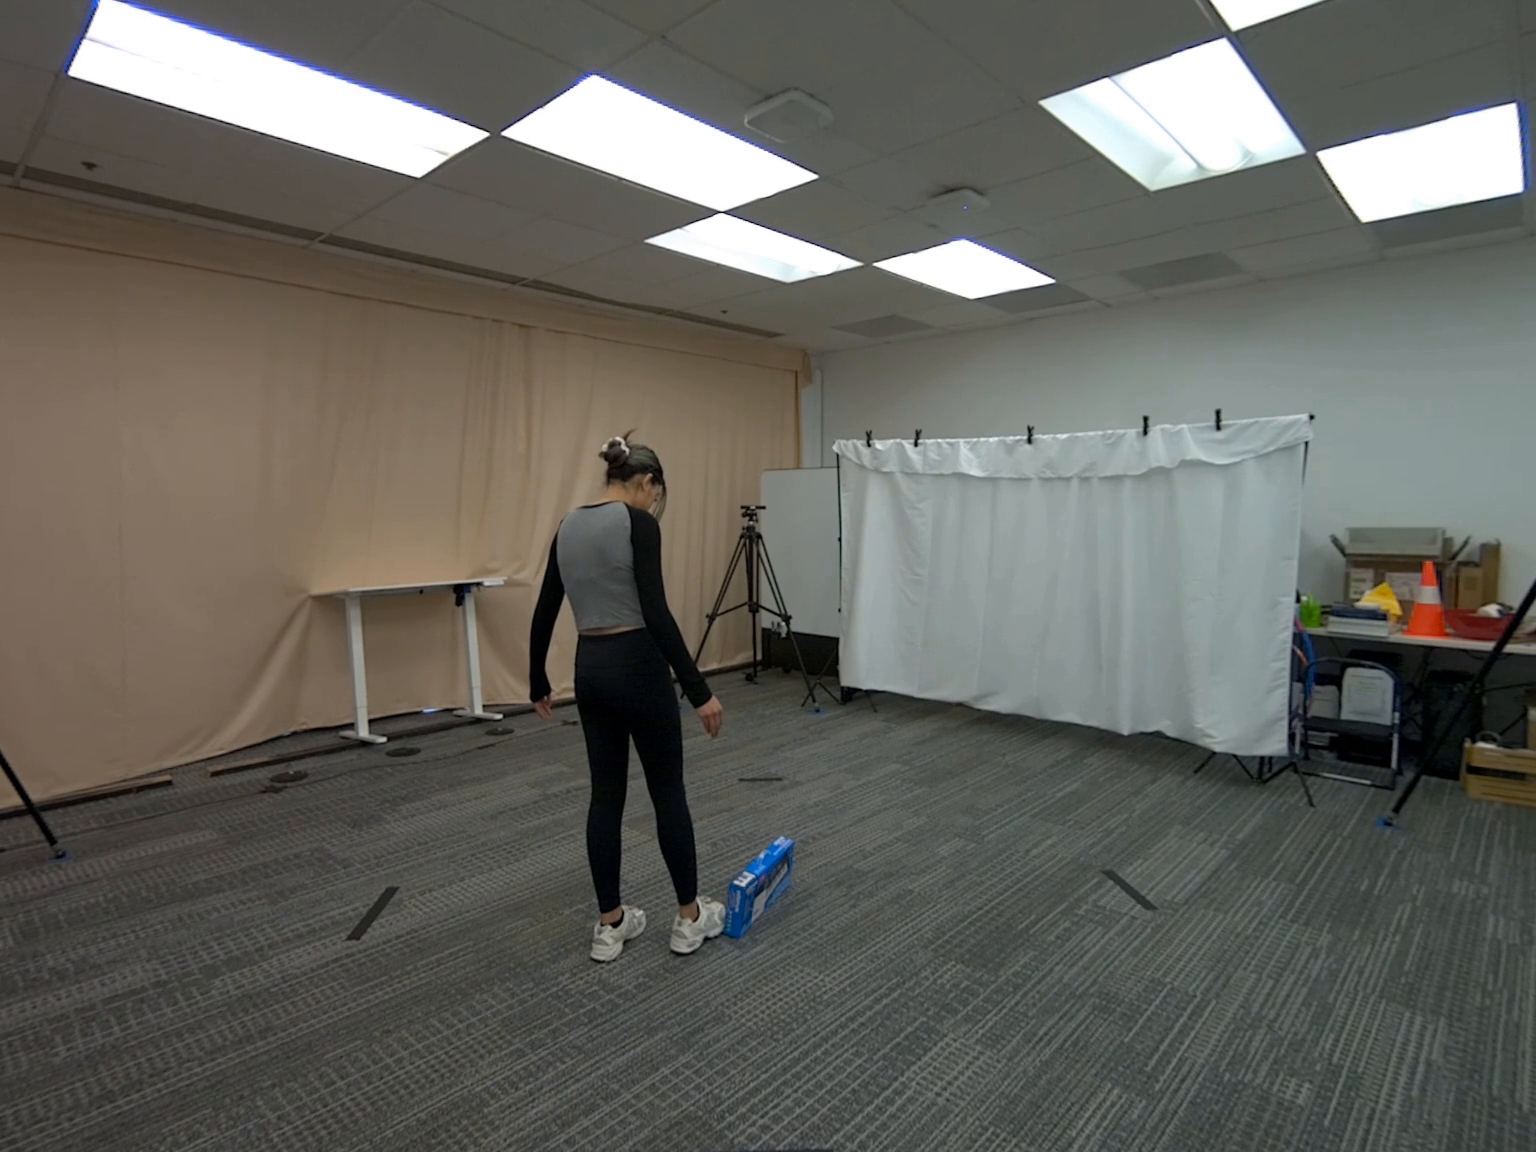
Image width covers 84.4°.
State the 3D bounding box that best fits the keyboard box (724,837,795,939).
[{"bbox_3d":[-0.021,1.062,2.898,0.061,0.175,0.427,9,8,23],"label":"keyboard box"}]
